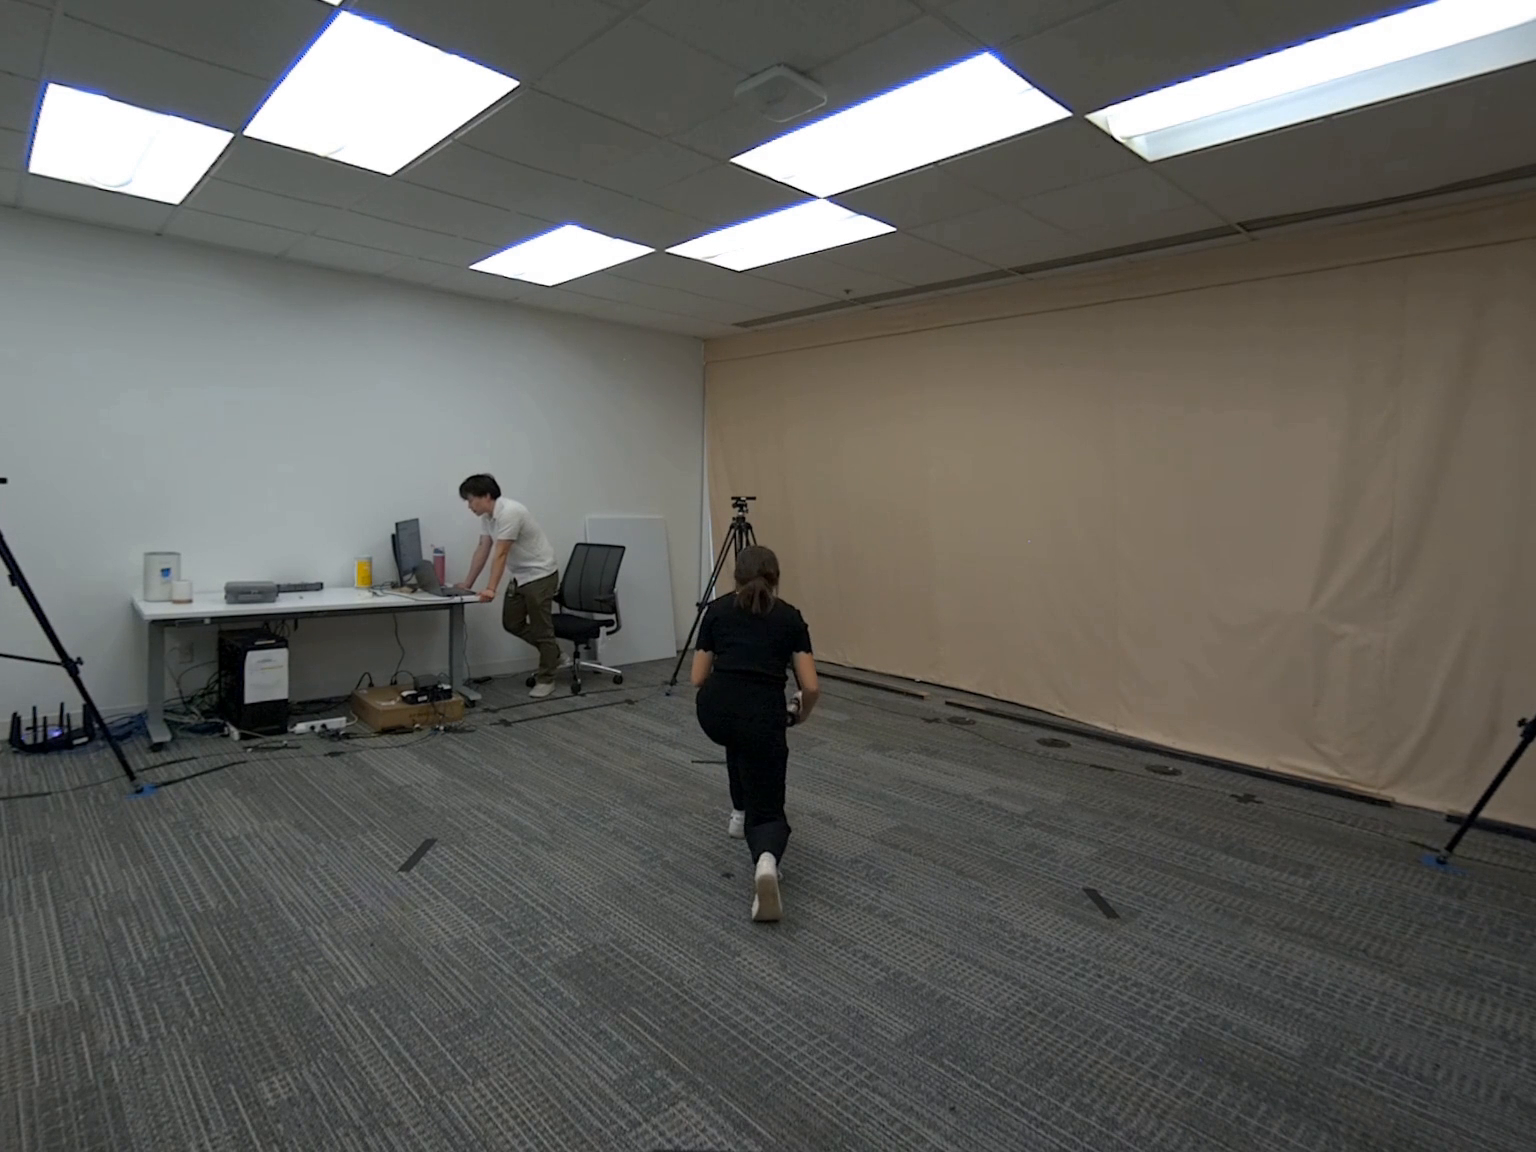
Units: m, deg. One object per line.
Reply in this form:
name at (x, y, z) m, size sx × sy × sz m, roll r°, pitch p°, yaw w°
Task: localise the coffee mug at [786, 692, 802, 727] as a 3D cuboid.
coffee mug at (0.097, 0.566, 3.537) m, size 0.089 × 0.121 × 0.203 m, roll 24°, pitch 25°, yaw 7°
